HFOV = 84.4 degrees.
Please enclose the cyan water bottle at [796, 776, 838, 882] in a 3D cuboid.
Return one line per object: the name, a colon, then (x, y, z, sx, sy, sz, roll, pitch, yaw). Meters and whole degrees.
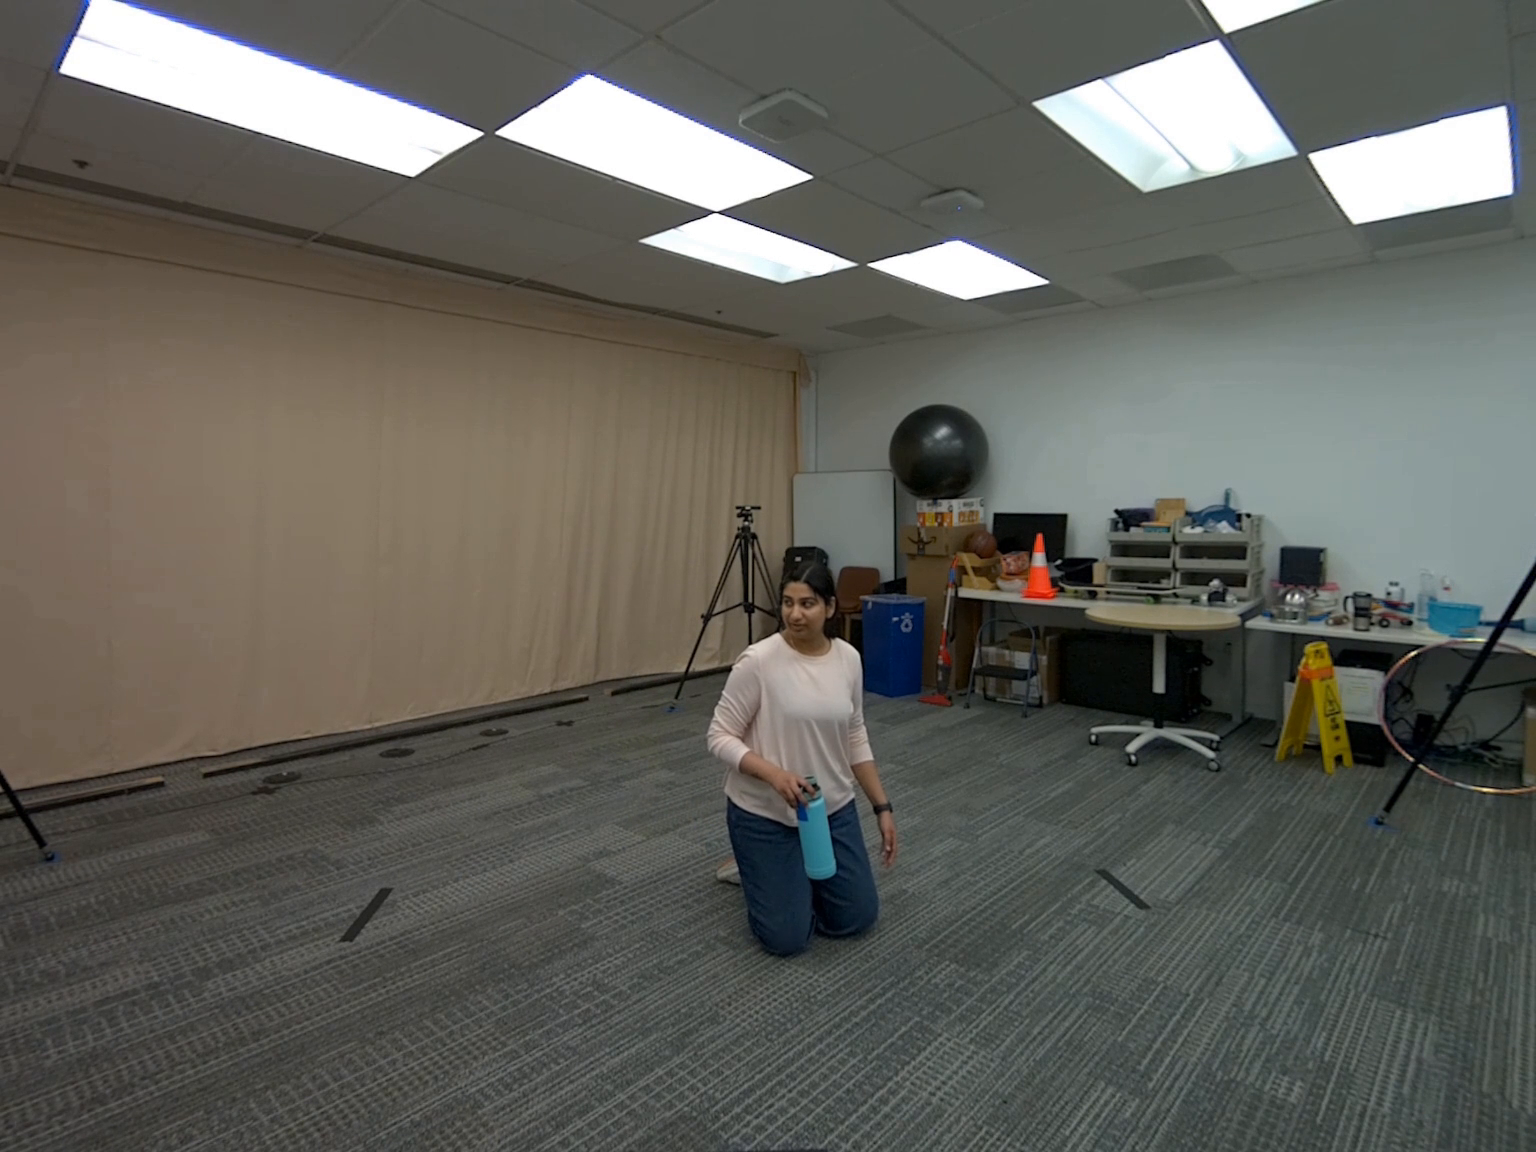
cyan water bottle: (0.139, 0.731, 2.469, 0.092, 0.282, 0.093, -9, 5, -1)
